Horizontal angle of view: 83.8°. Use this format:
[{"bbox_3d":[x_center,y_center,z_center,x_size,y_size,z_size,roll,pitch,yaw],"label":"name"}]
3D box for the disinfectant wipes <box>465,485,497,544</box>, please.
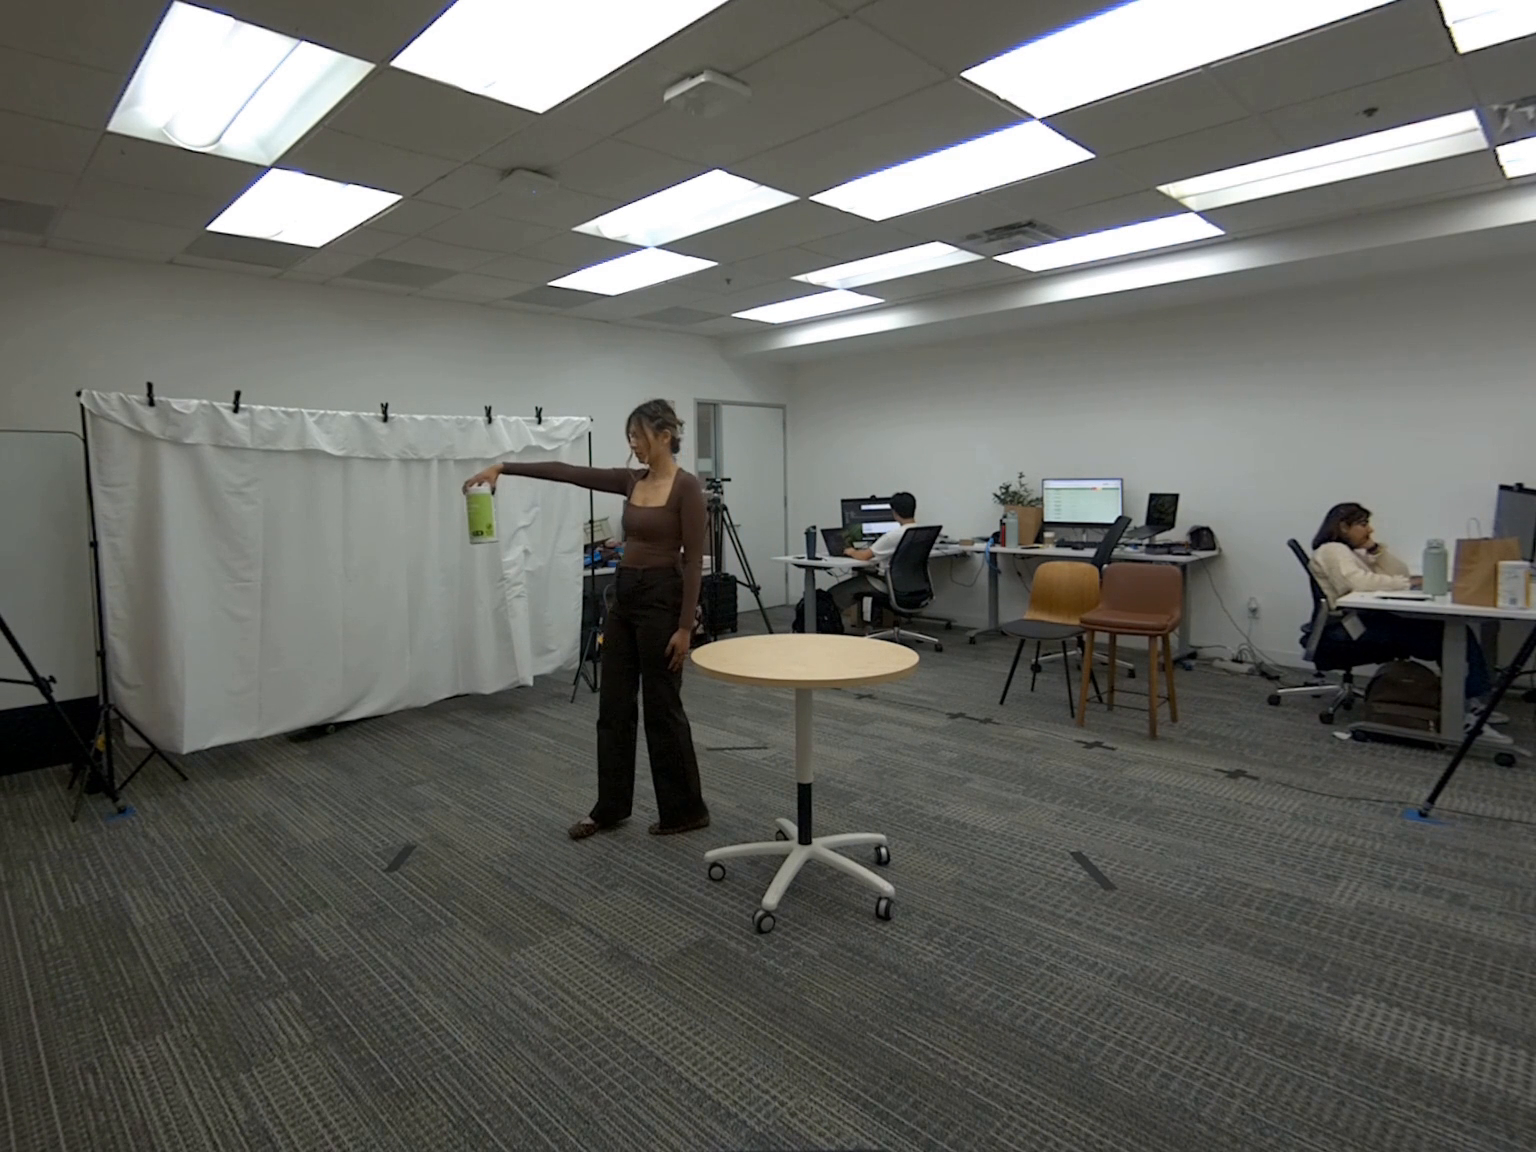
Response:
[{"bbox_3d":[-1.088,-0.233,3.263,0.118,0.217,0.118,-3,0,-2],"label":"disinfectant wipes"}]
